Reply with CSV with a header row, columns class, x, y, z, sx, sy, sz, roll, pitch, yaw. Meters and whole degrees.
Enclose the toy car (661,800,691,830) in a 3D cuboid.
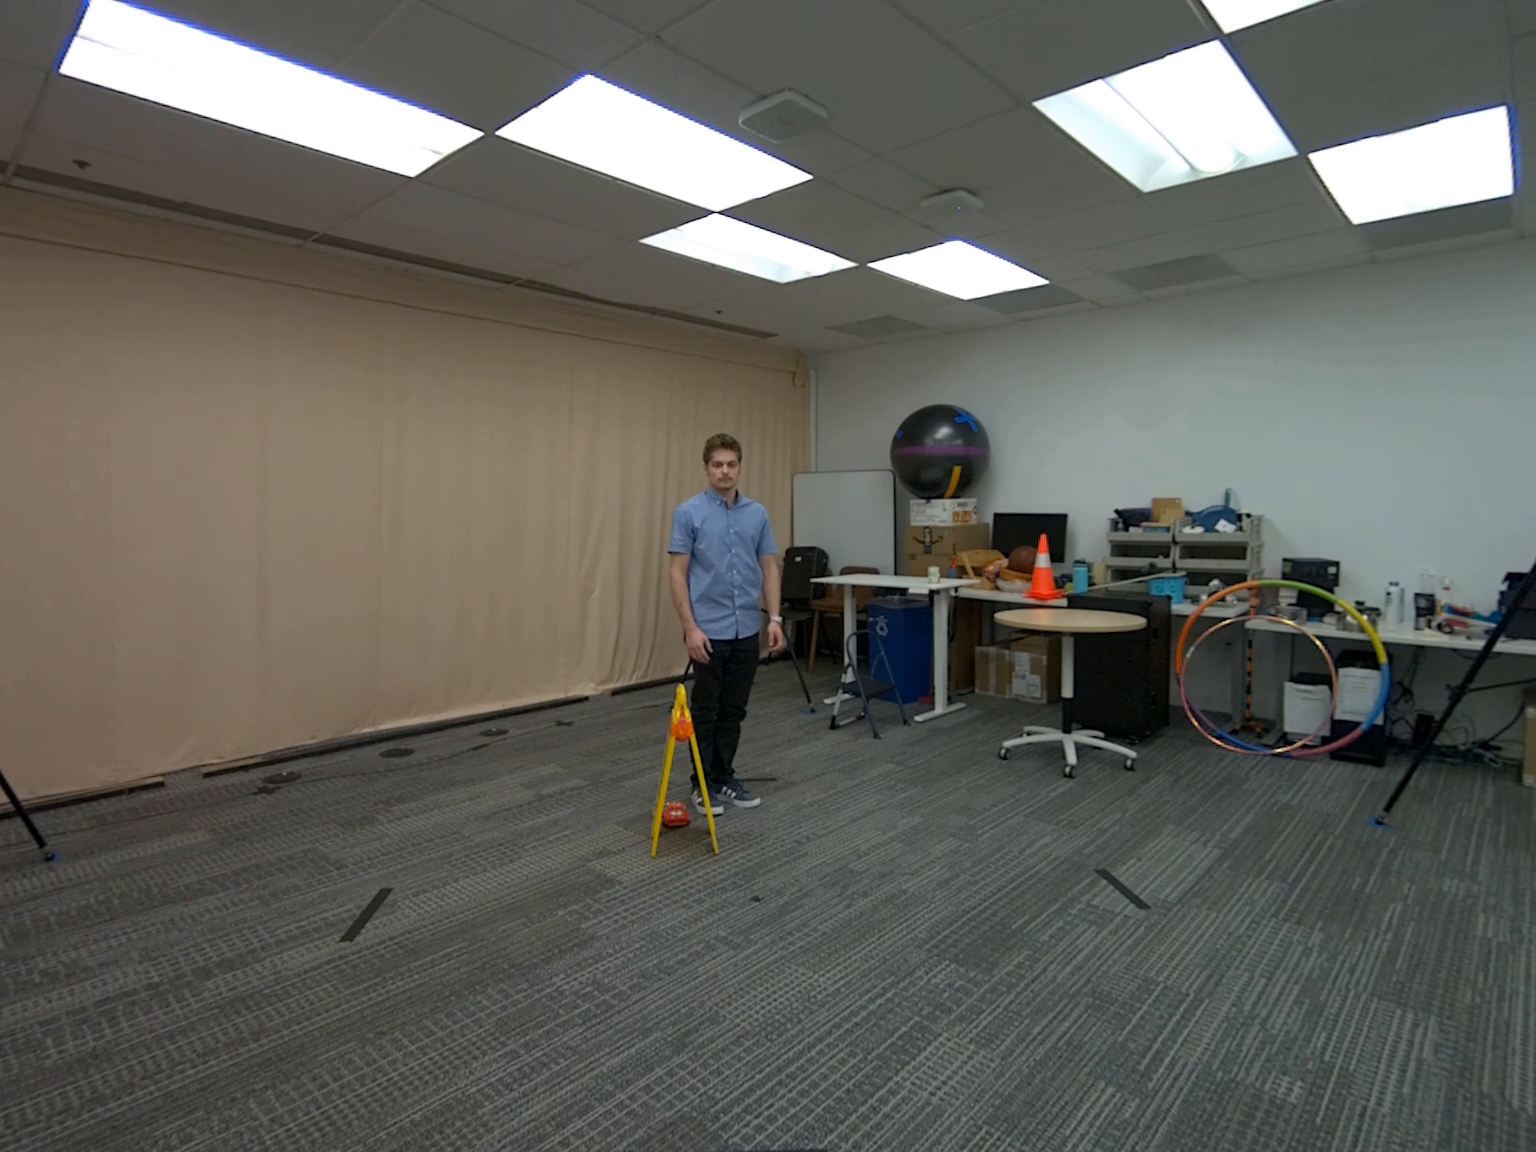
class,x,y,z,sx,sy,sz,roll,pitch,yaw
toy car,-0.414,1.053,3.725,0.129,0.083,0.256,0,-7,-11
